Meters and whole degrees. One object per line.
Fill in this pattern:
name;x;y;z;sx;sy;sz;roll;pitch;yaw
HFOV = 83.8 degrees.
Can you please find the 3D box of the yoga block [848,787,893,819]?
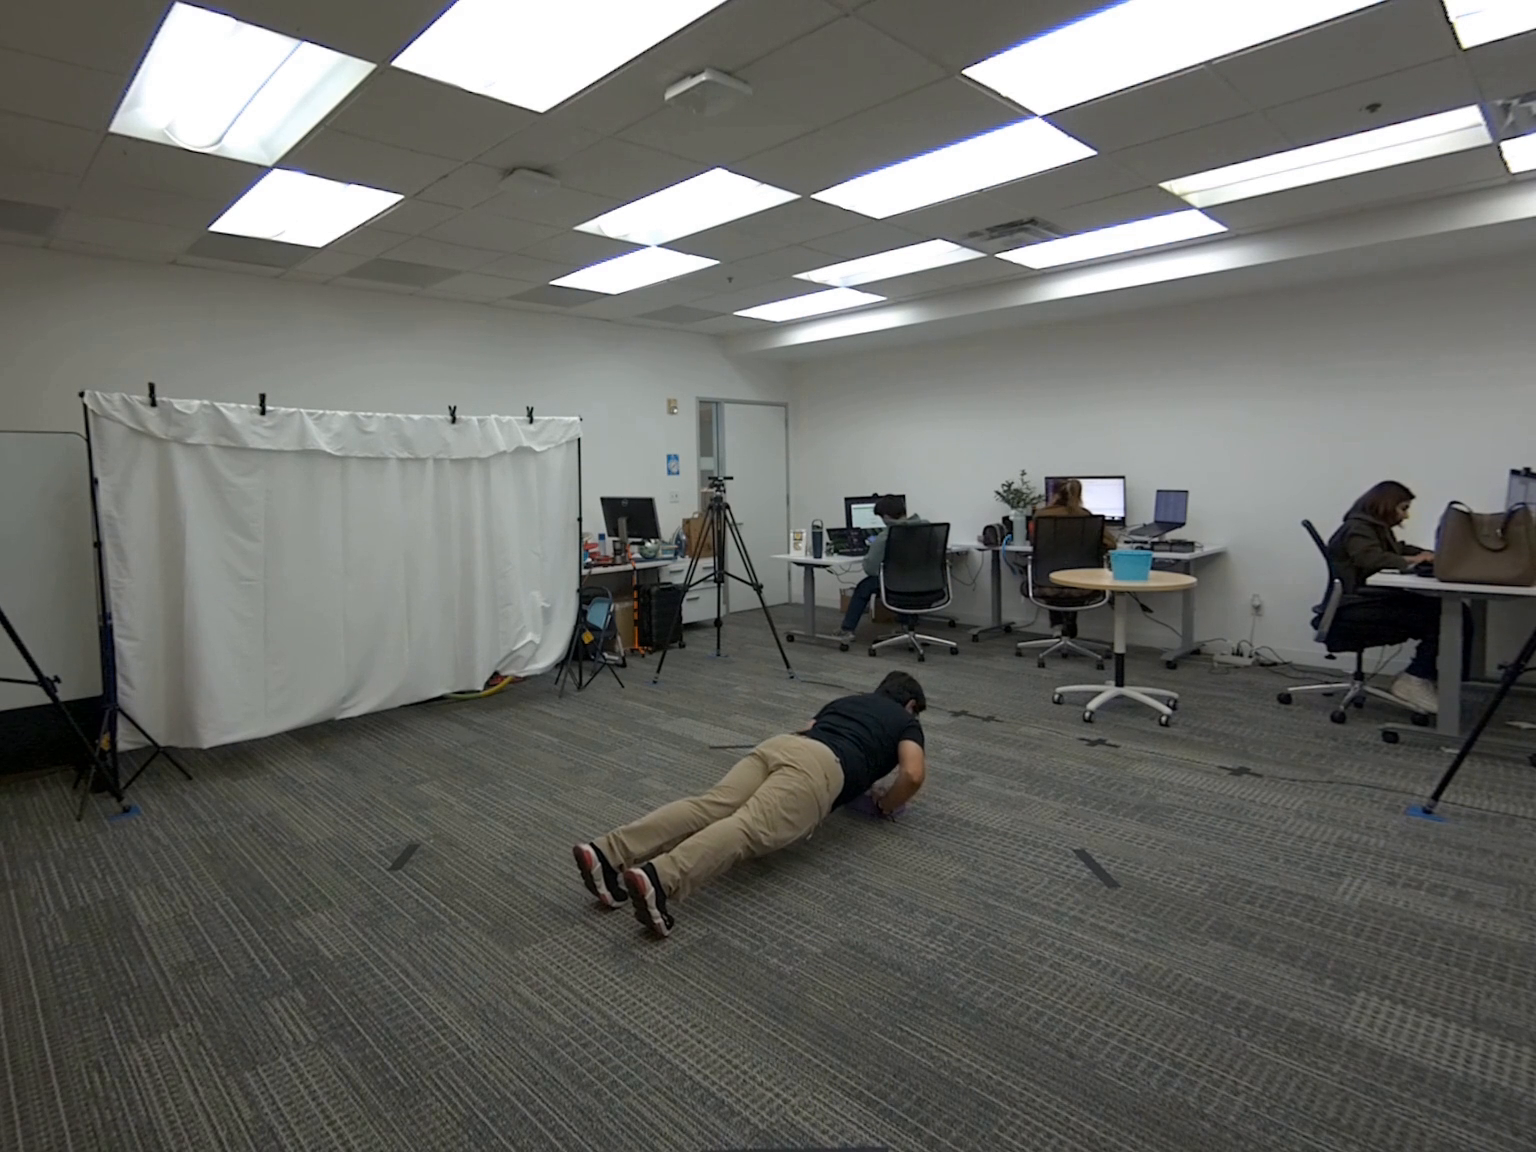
yoga block;0.449;0.938;3.582;0.236;0.076;0.145;7;10;44
